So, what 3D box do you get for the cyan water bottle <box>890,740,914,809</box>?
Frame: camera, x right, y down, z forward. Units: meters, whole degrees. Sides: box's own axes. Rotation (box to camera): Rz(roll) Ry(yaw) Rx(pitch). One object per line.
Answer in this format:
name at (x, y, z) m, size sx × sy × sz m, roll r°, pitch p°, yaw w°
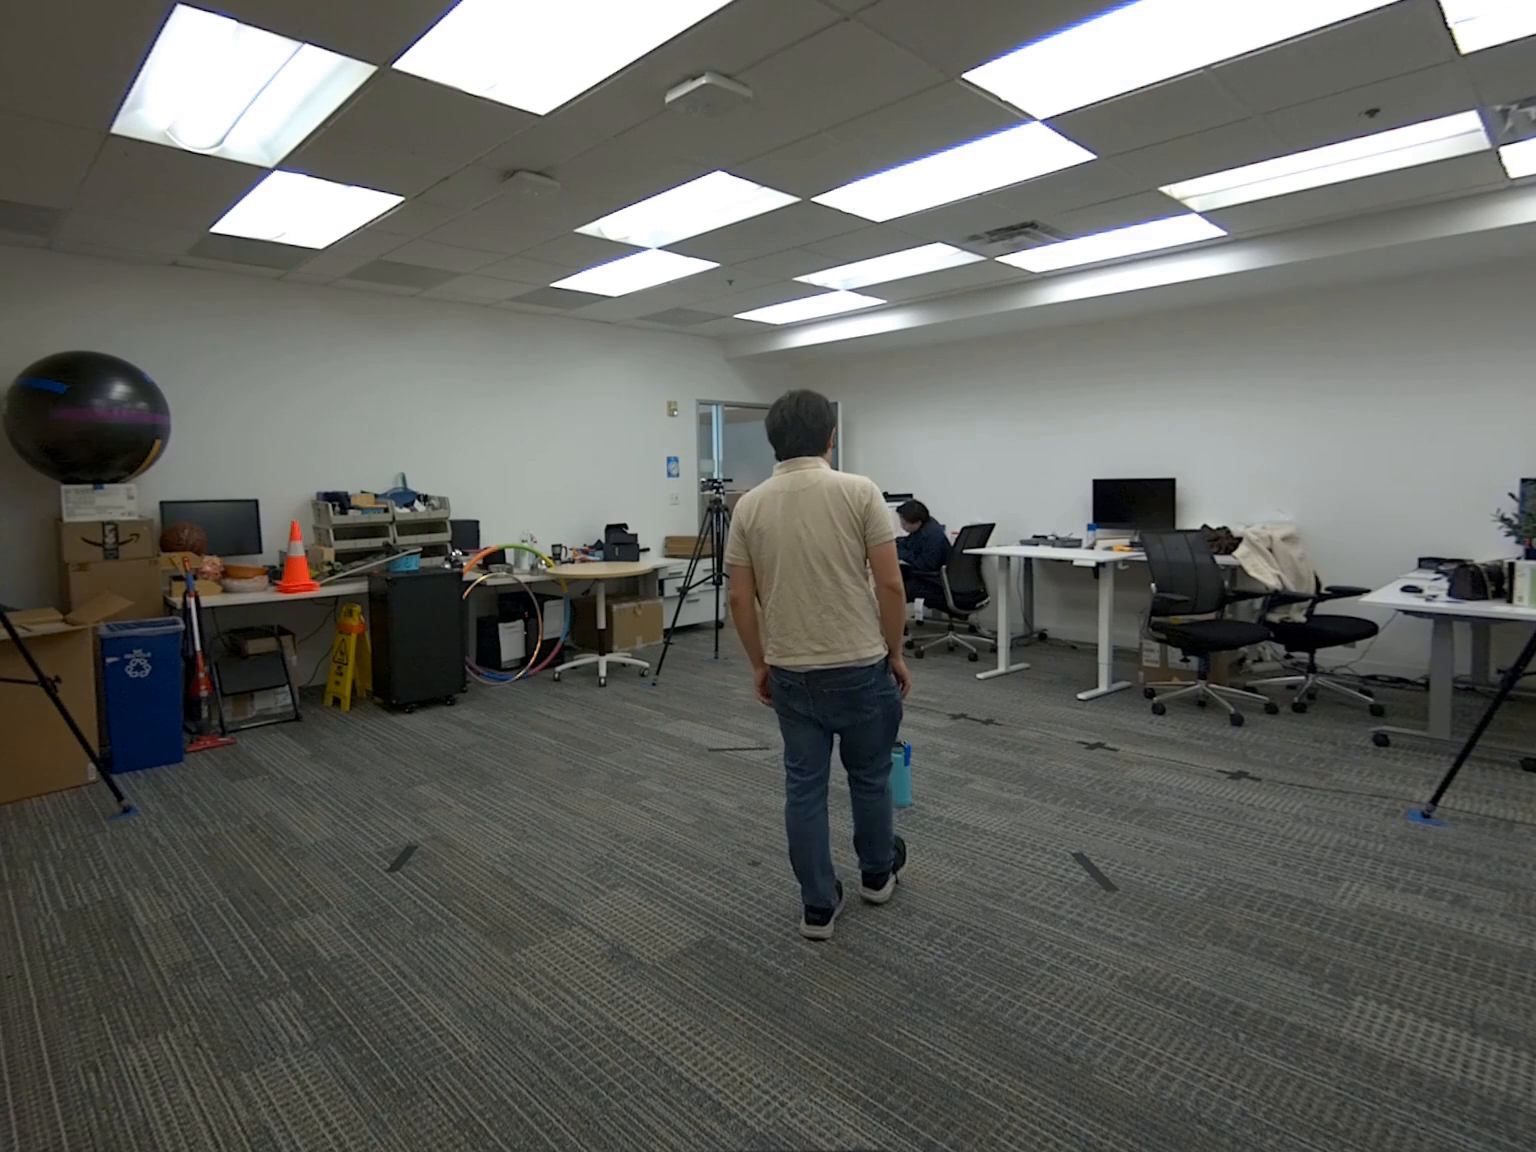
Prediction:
cyan water bottle at (0.568, 0.832, 3.649) m, size 0.092 × 0.282 × 0.093 m, roll -1°, pitch 4°, yaw -2°
